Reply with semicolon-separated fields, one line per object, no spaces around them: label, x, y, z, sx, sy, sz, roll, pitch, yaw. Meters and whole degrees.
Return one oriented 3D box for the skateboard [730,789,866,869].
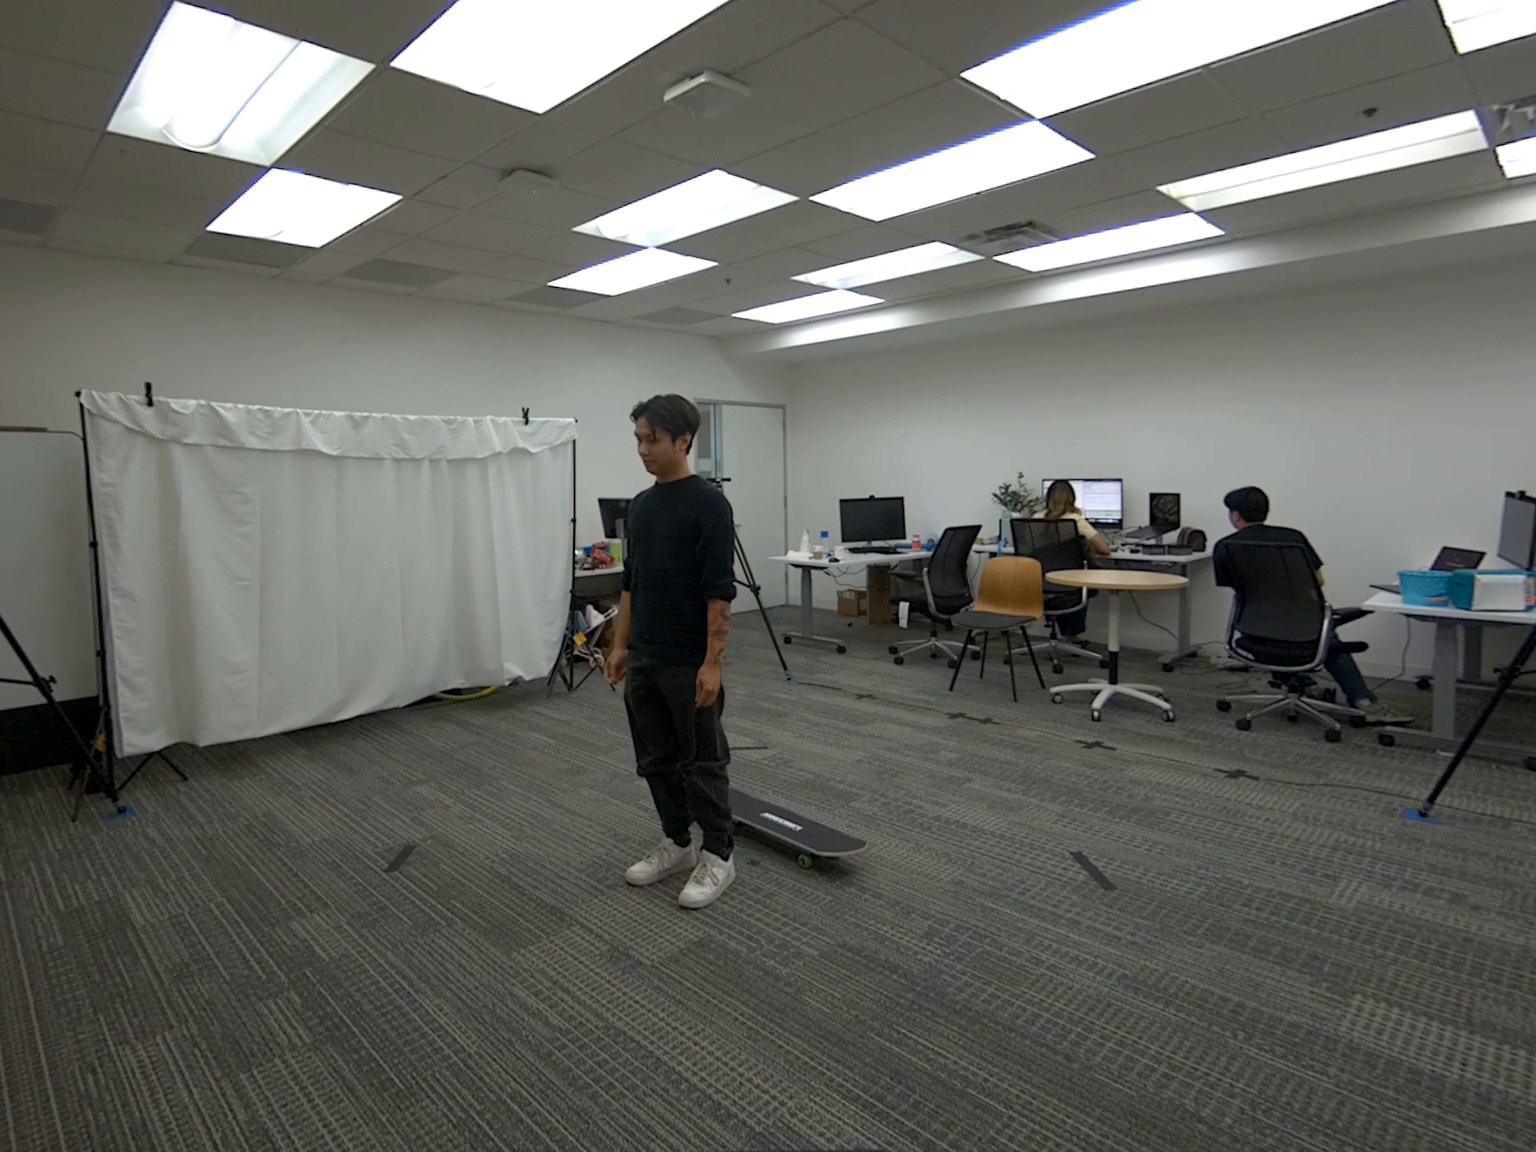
skateboard;0.055;0.966;3.251;0.188;0.110;0.810;-5;7;-42
